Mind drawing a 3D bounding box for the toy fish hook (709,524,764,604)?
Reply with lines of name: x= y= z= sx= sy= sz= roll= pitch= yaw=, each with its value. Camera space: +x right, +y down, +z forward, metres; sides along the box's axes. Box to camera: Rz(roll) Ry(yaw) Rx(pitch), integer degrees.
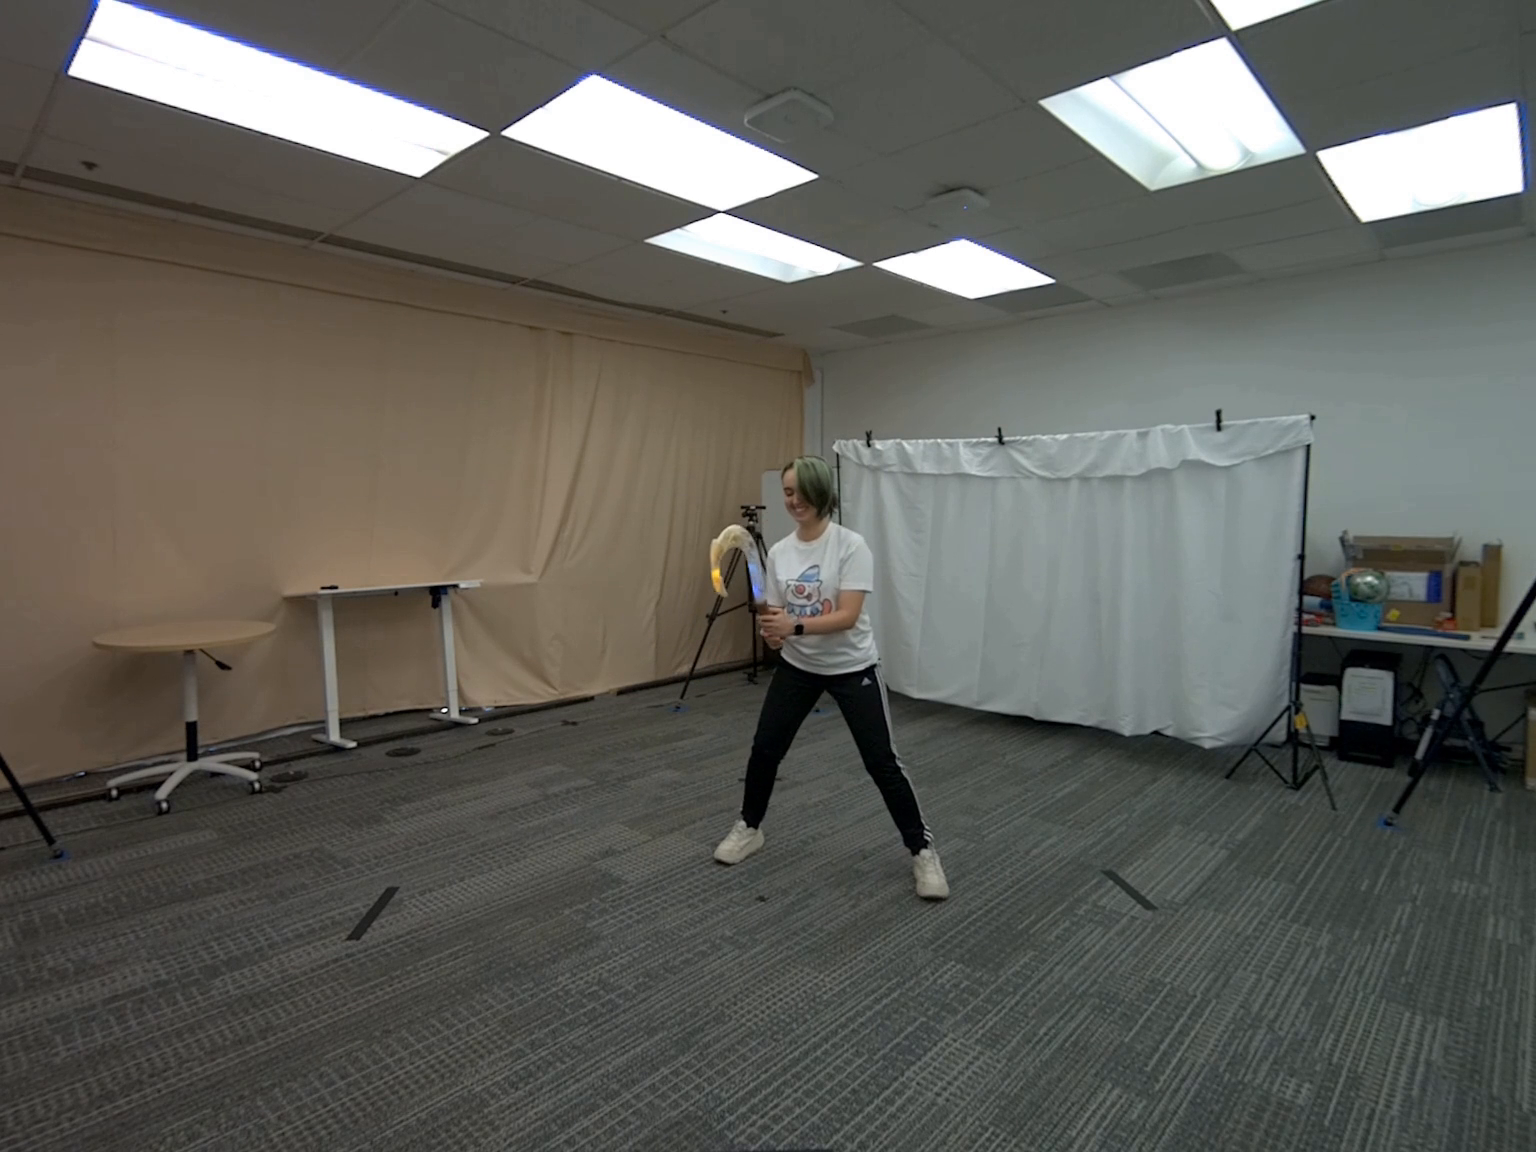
toy fish hook: x=-0.069 y=0.071 z=2.846 sx=0.050 sy=0.494 sz=0.222 roll=9 pitch=42 yaw=47
